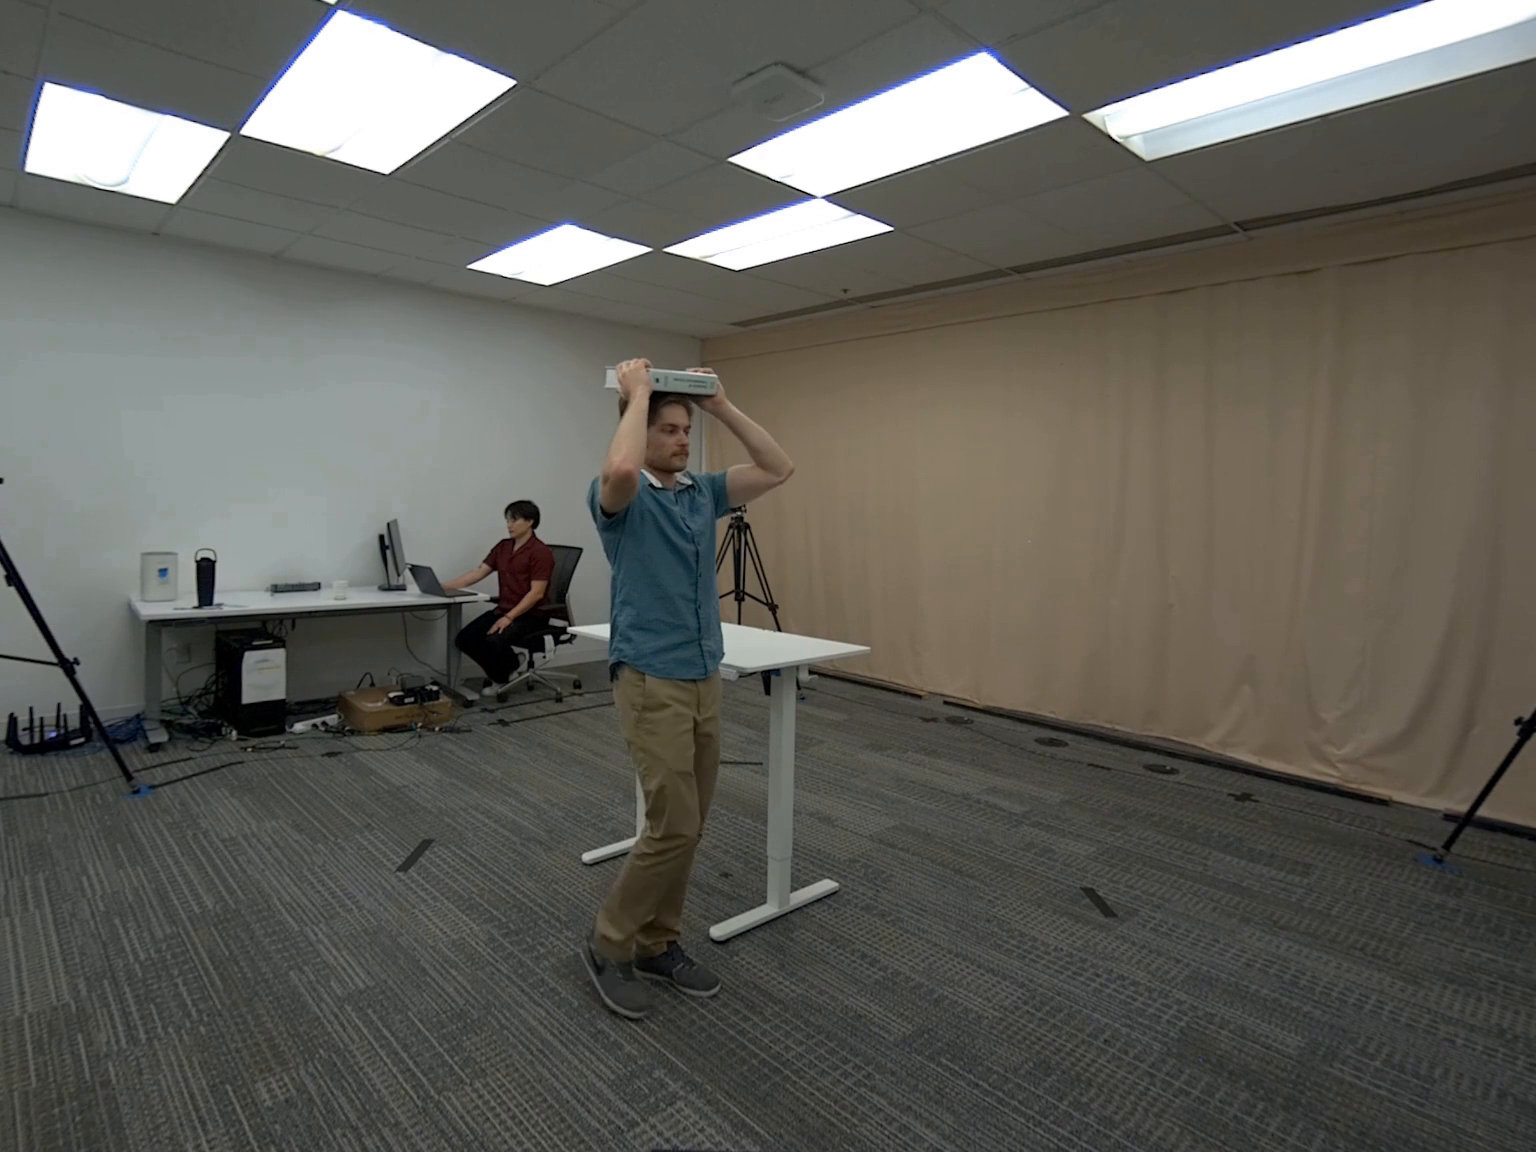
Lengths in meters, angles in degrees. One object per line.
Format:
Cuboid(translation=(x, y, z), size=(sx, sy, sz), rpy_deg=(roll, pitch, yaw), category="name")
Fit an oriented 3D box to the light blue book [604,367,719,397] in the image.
Cuboid(translation=(-0.307, -0.543, 2.348), size=(0.196, 0.058, 0.256), rpy_deg=(13, 15, 36), category="light blue book")
